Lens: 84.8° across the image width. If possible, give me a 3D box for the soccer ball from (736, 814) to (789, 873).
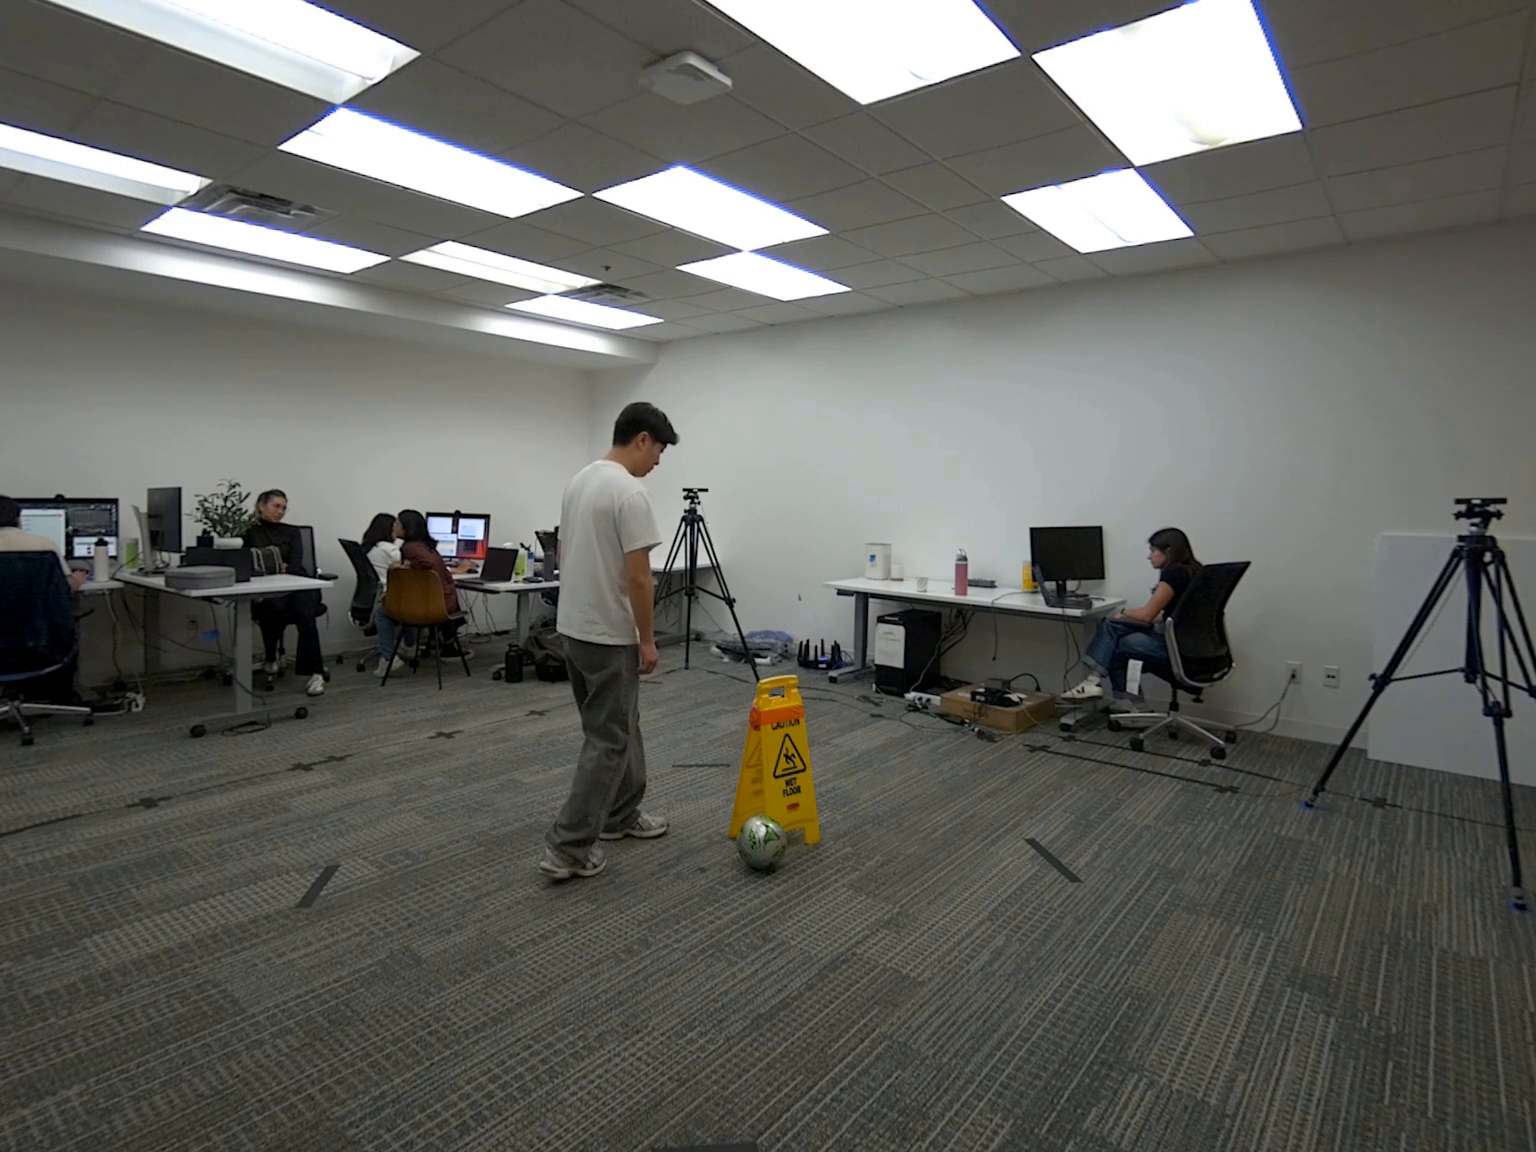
[{"bbox_3d":[-0.031,0.980,3.129,0.187,0.187,0.188,1,4,-2],"label":"soccer ball"}]
